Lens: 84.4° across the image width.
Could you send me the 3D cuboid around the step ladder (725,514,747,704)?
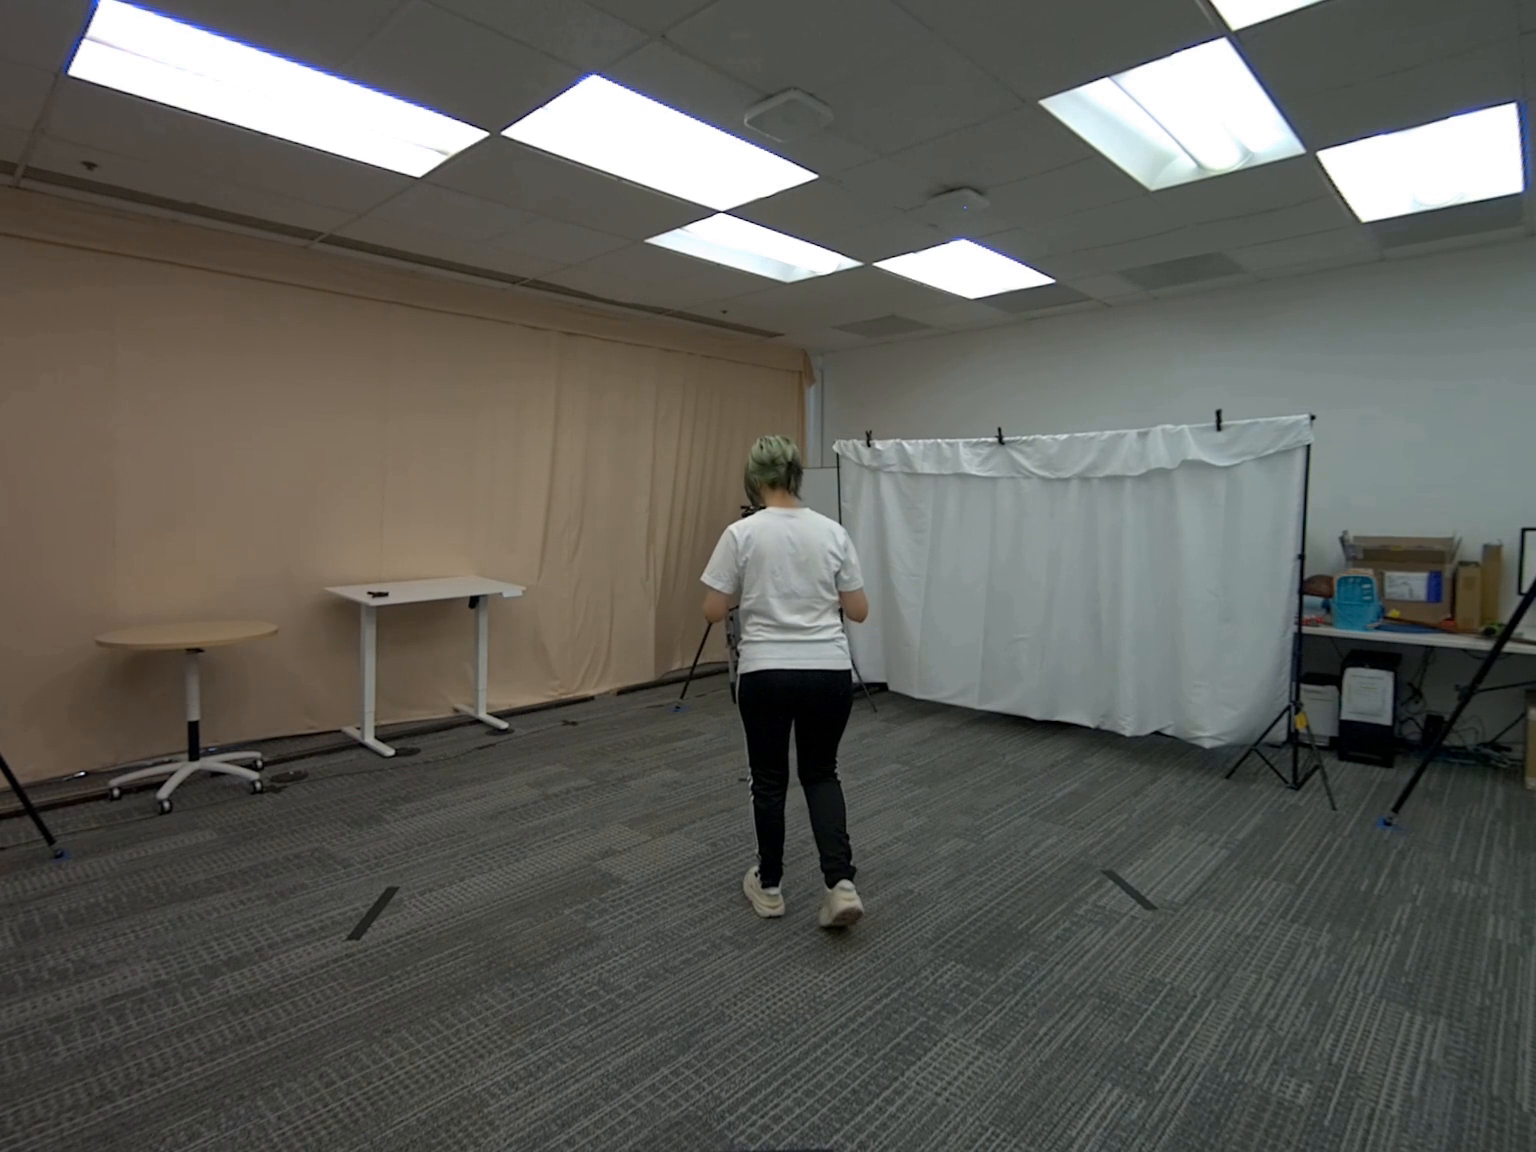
[{"bbox_3d":[0.036,0.145,3.216,0.430,0.593,0.357,-7,38,-3],"label":"step ladder"}]
